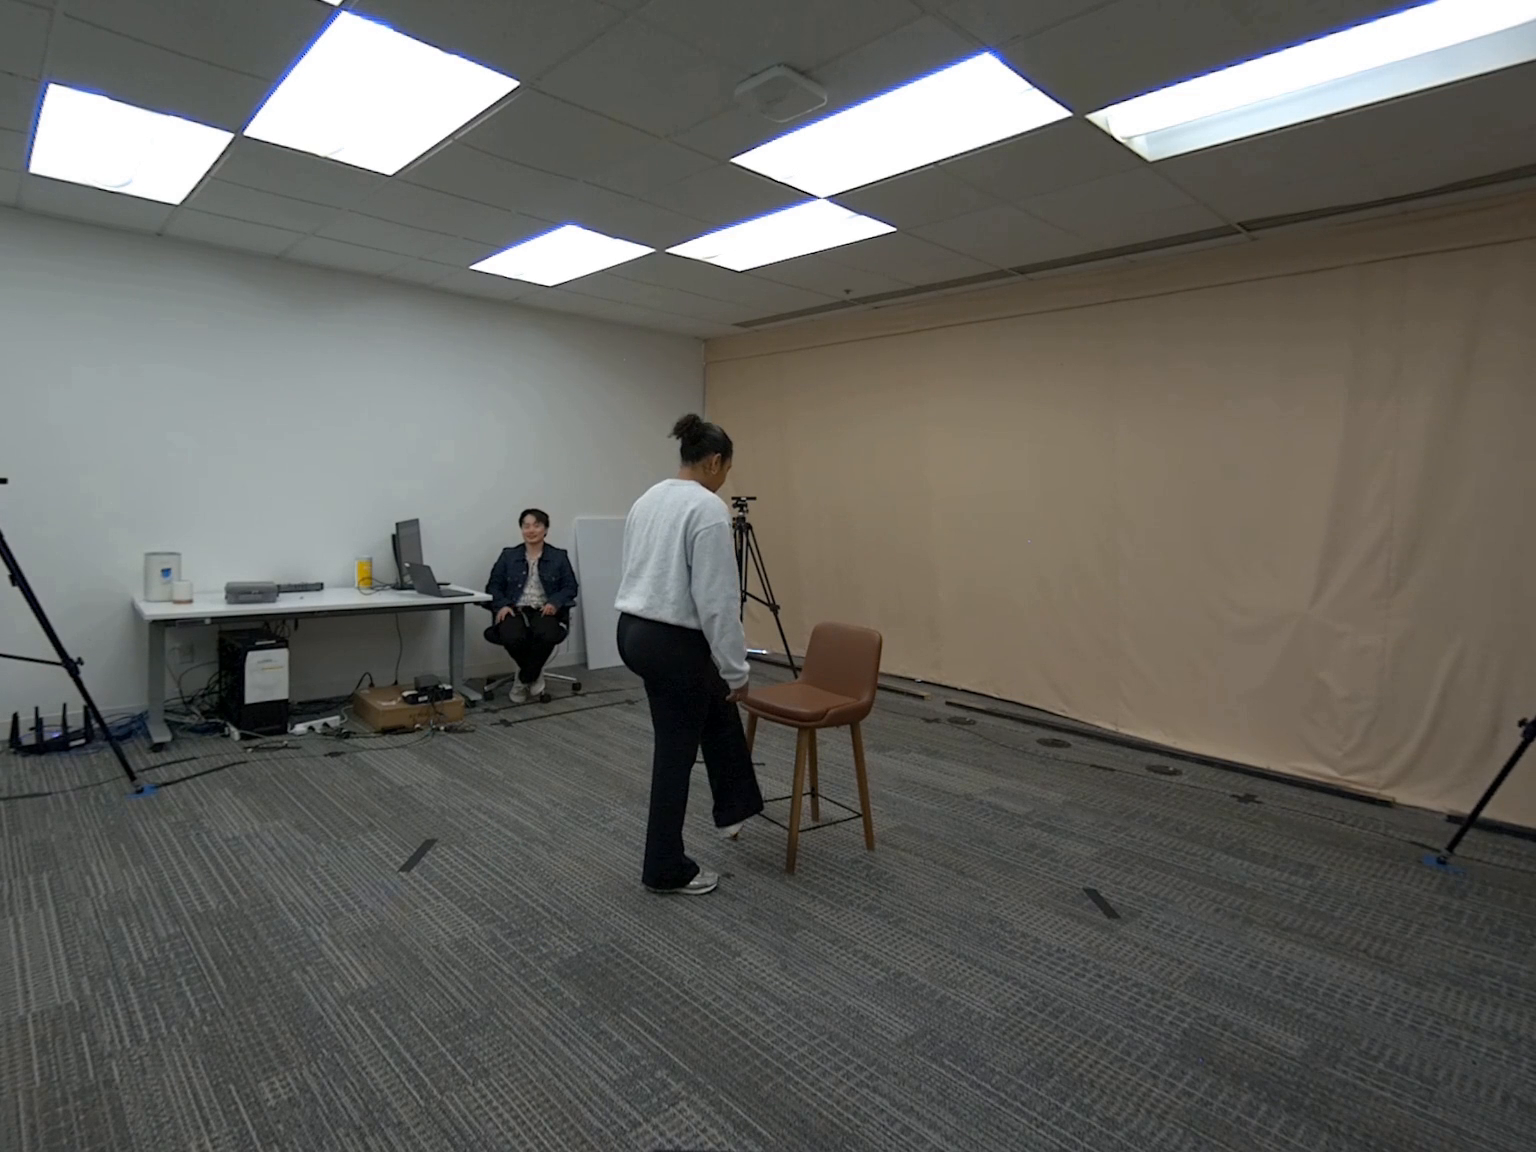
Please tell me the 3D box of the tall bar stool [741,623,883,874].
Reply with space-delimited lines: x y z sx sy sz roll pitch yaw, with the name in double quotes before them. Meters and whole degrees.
"tall bar stool" 0.154 0.652 3.393 0.457 0.889 0.467 2 2 -35
